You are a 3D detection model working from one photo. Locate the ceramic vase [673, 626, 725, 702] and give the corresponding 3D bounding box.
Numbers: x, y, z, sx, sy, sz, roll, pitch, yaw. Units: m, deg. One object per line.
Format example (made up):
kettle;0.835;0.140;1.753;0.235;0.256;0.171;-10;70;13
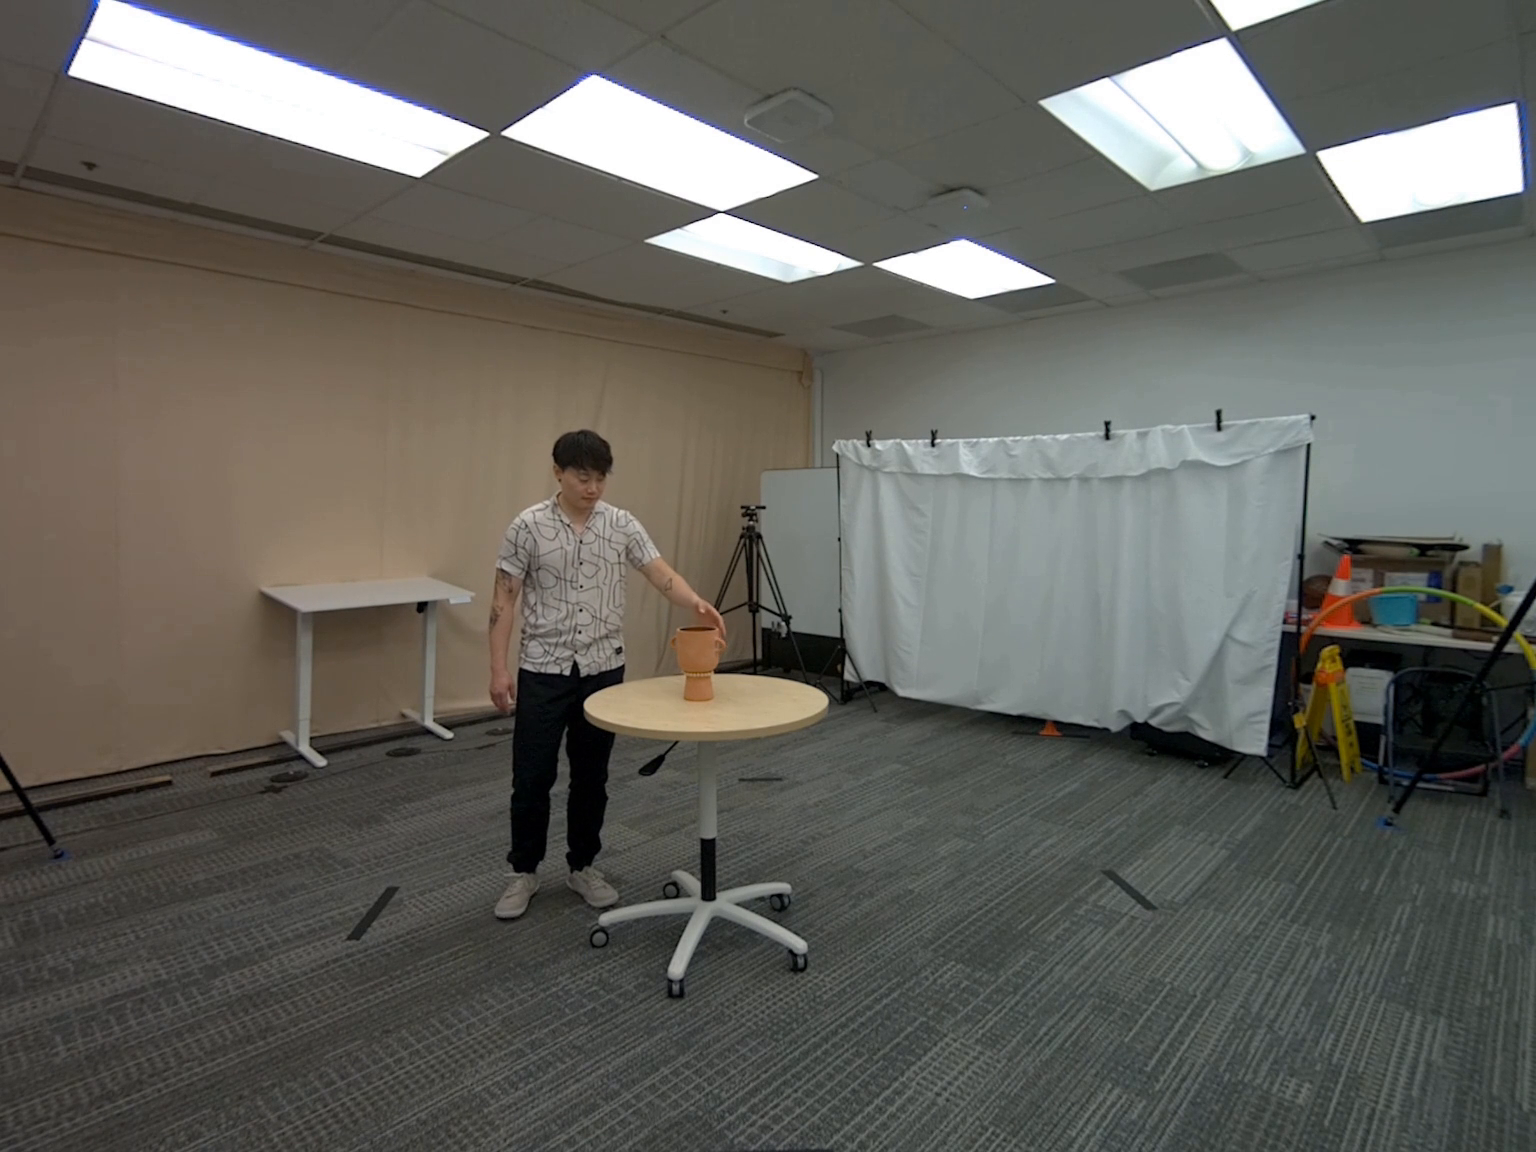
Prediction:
ceramic vase;-0.220;0.279;2.657;0.131;0.219;0.163;-3;3;-24
